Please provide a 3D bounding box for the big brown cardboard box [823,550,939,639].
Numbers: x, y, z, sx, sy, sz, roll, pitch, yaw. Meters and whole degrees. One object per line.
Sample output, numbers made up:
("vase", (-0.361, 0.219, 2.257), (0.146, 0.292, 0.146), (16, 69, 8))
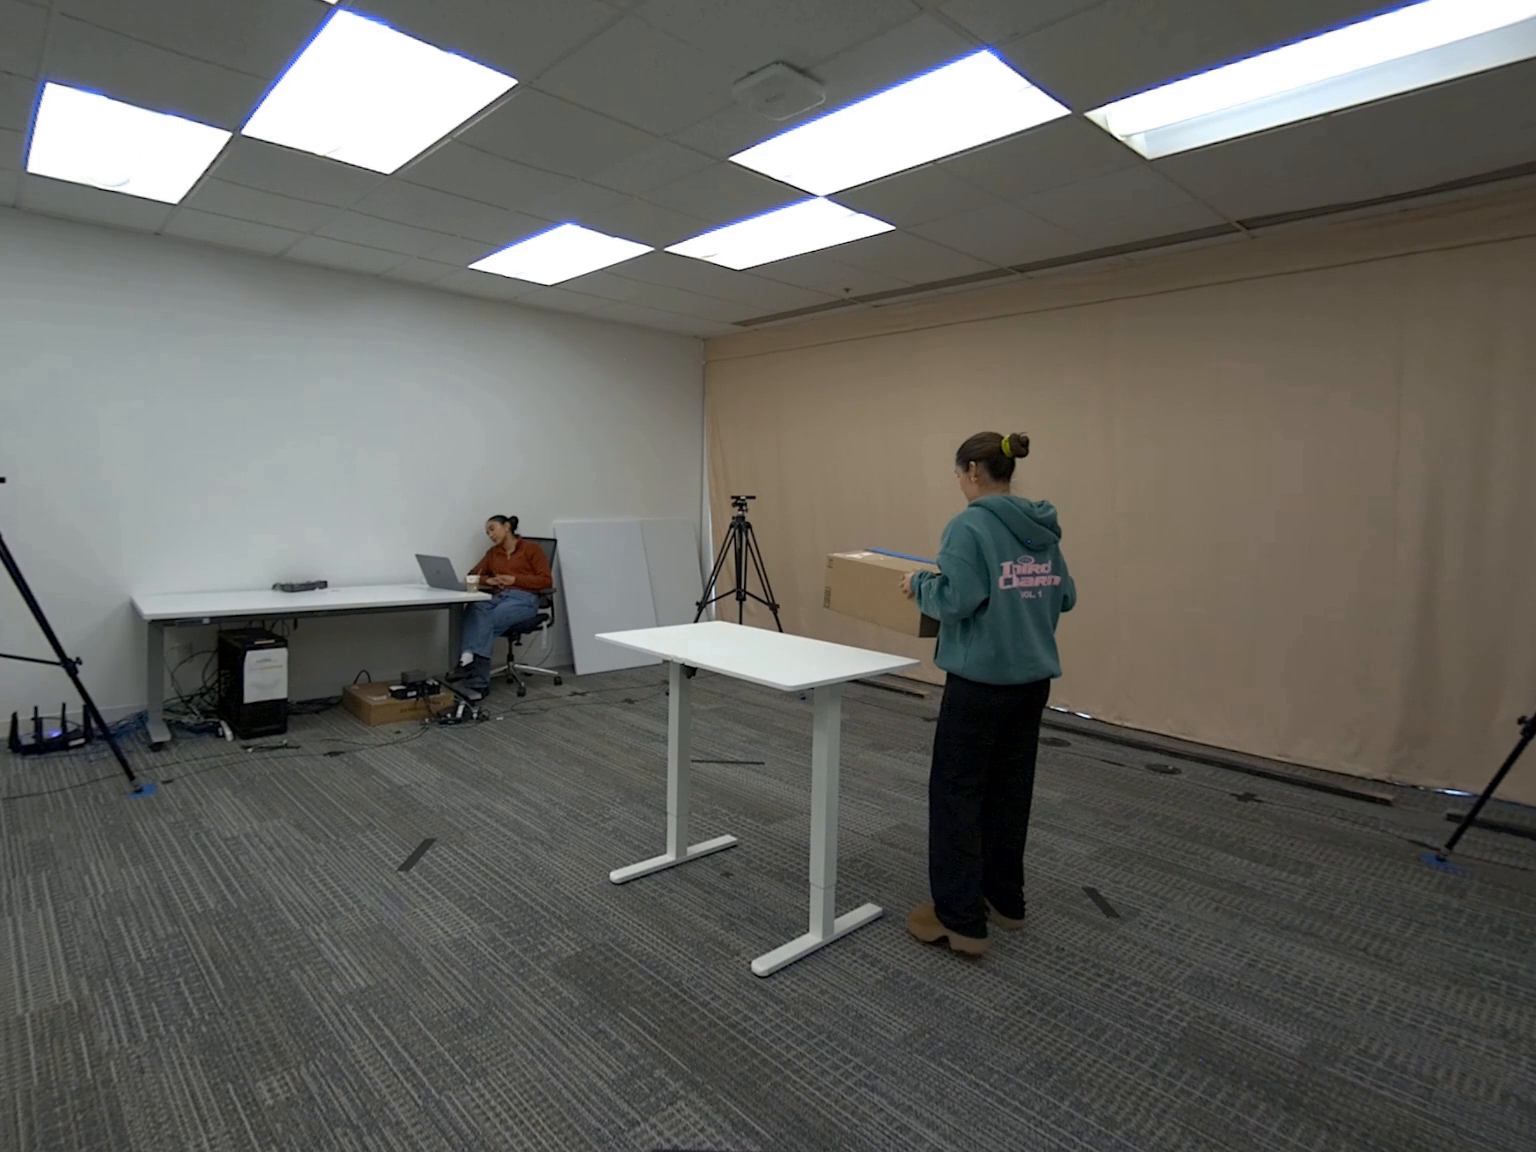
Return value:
("big brown cardboard box", (0.533, 0.059, 3.172), (0.409, 0.232, 0.604), (1, 9, -31))
